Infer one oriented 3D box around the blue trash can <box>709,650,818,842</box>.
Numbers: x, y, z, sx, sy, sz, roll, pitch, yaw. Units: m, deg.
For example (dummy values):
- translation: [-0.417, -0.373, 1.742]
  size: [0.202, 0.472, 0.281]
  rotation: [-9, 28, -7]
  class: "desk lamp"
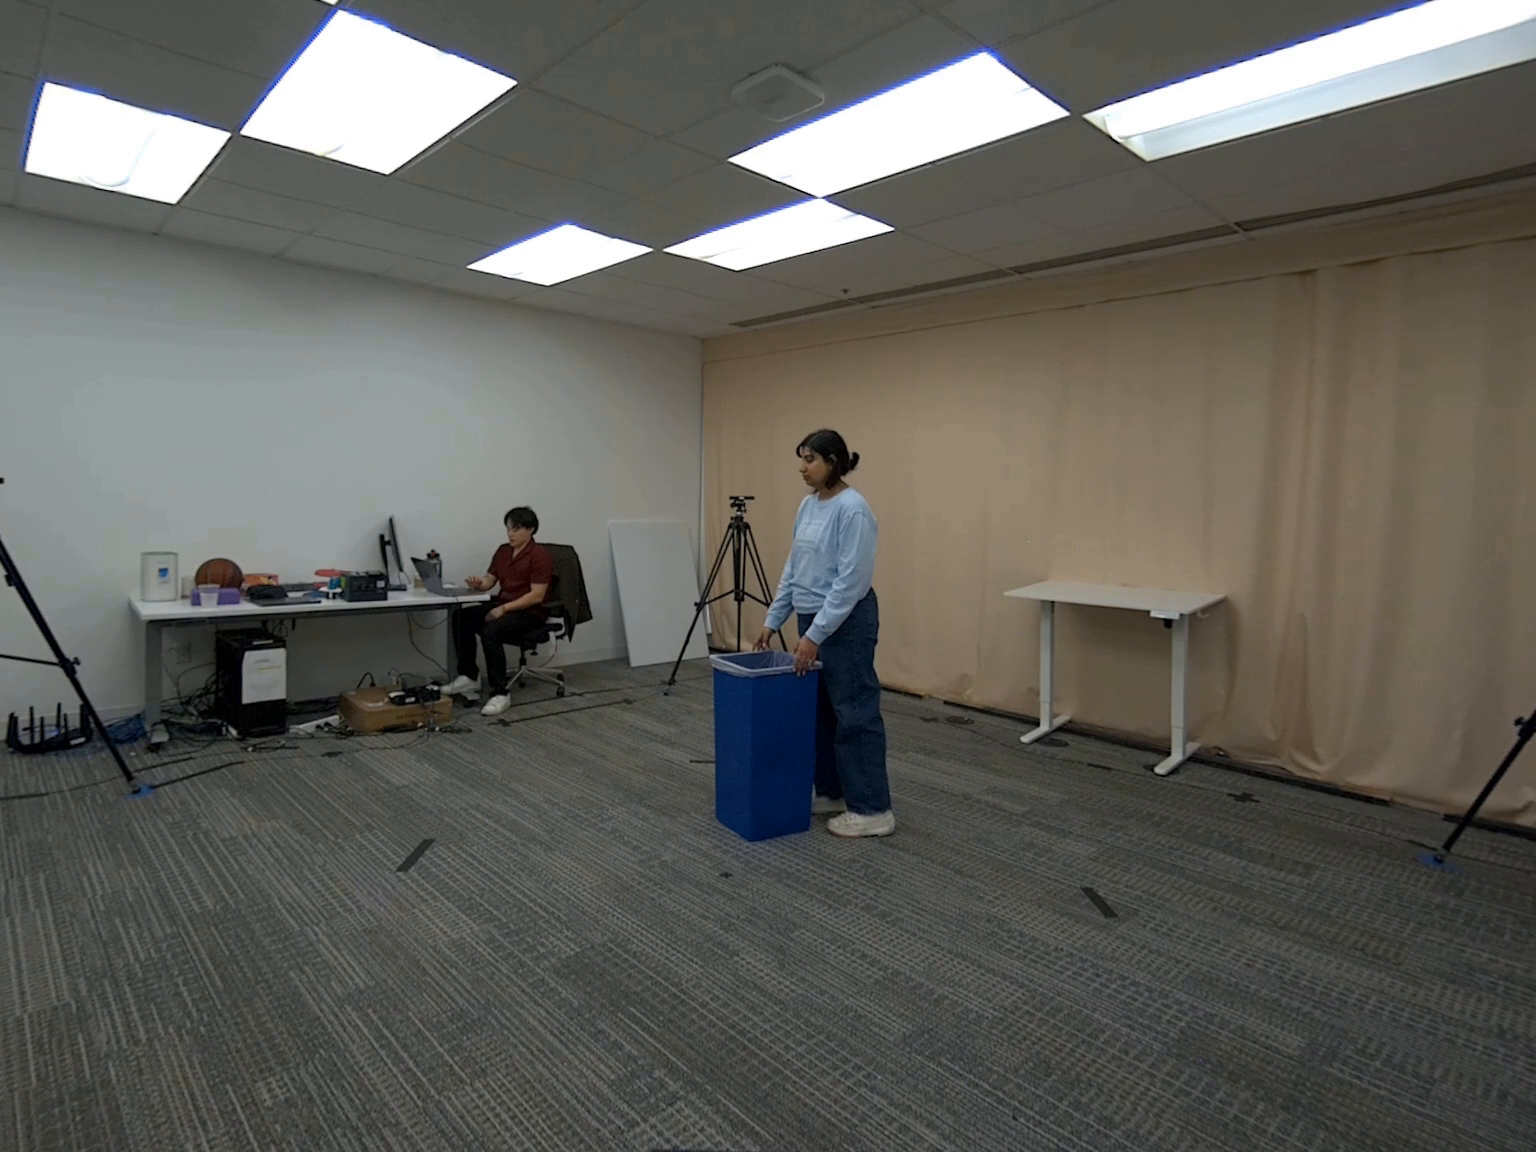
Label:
- translation: [-0.032, 0.708, 3.582]
  size: [0.366, 0.712, 0.387]
  rotation: [0, 3, -32]
  class: "blue trash can"
